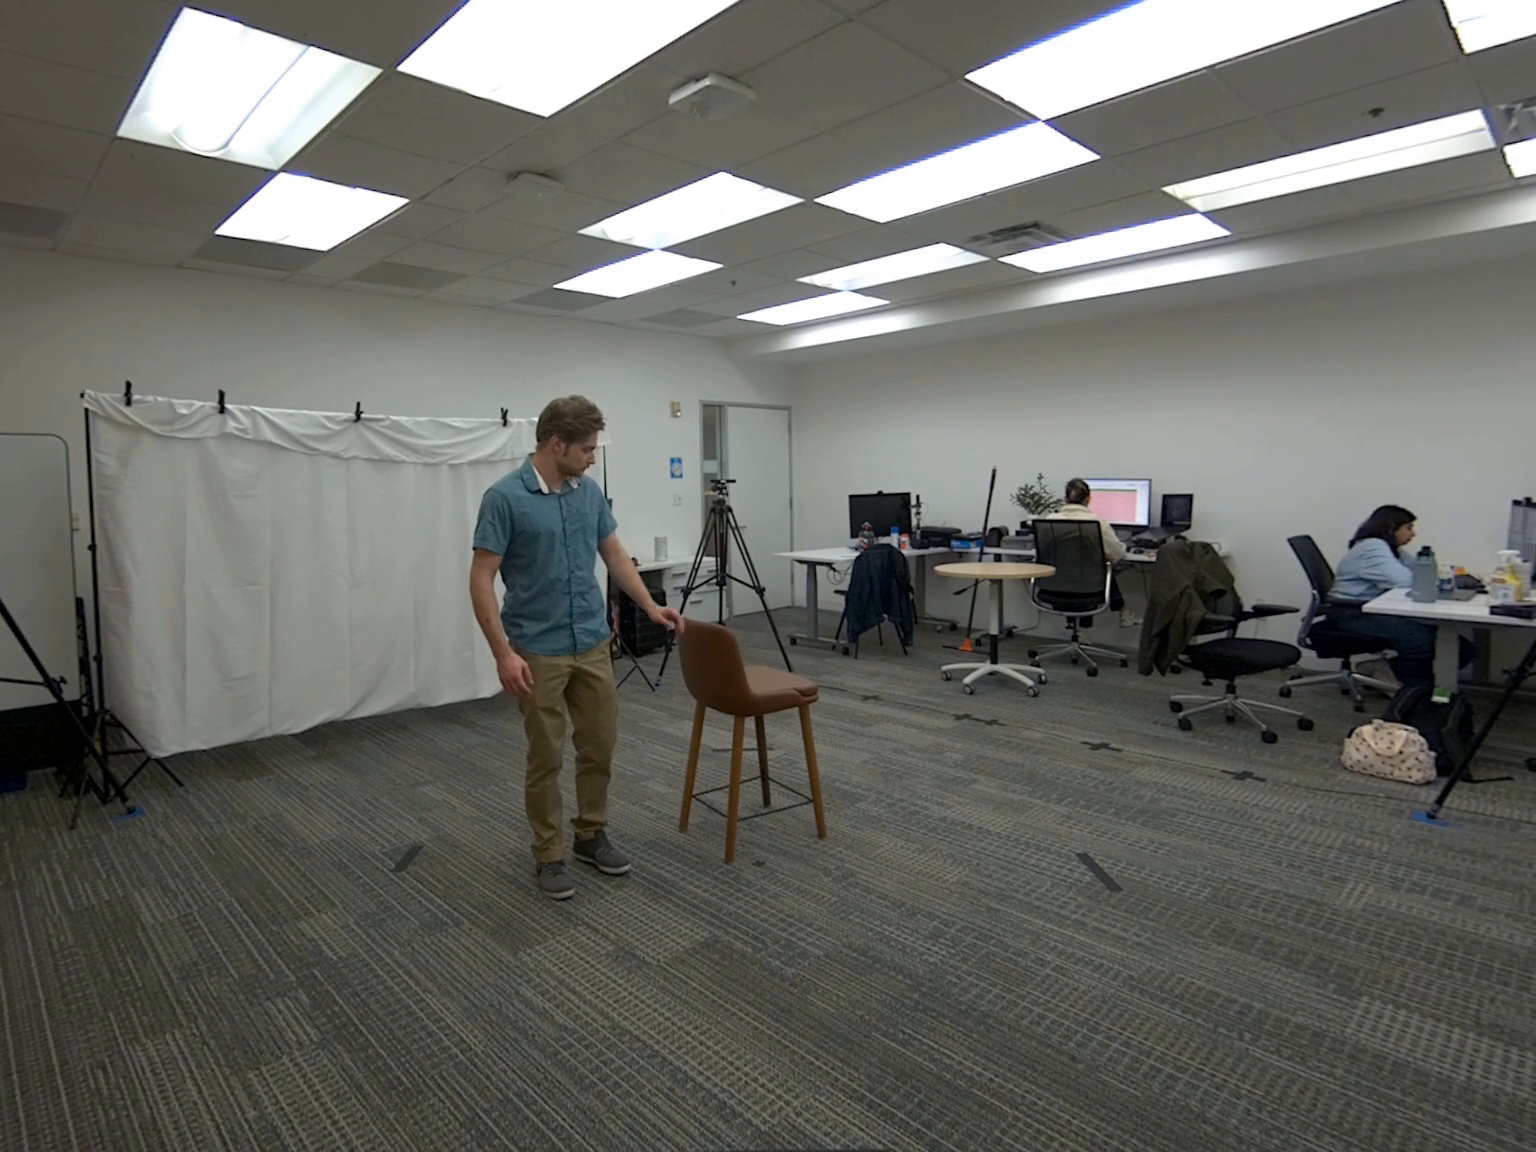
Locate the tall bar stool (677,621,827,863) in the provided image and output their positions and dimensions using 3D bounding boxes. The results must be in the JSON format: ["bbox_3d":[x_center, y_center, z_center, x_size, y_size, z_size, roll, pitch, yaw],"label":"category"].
[{"bbox_3d":[-0.082,0.585,3.358,0.456,0.886,0.470,-5,6,-33],"label":"tall bar stool"}]
